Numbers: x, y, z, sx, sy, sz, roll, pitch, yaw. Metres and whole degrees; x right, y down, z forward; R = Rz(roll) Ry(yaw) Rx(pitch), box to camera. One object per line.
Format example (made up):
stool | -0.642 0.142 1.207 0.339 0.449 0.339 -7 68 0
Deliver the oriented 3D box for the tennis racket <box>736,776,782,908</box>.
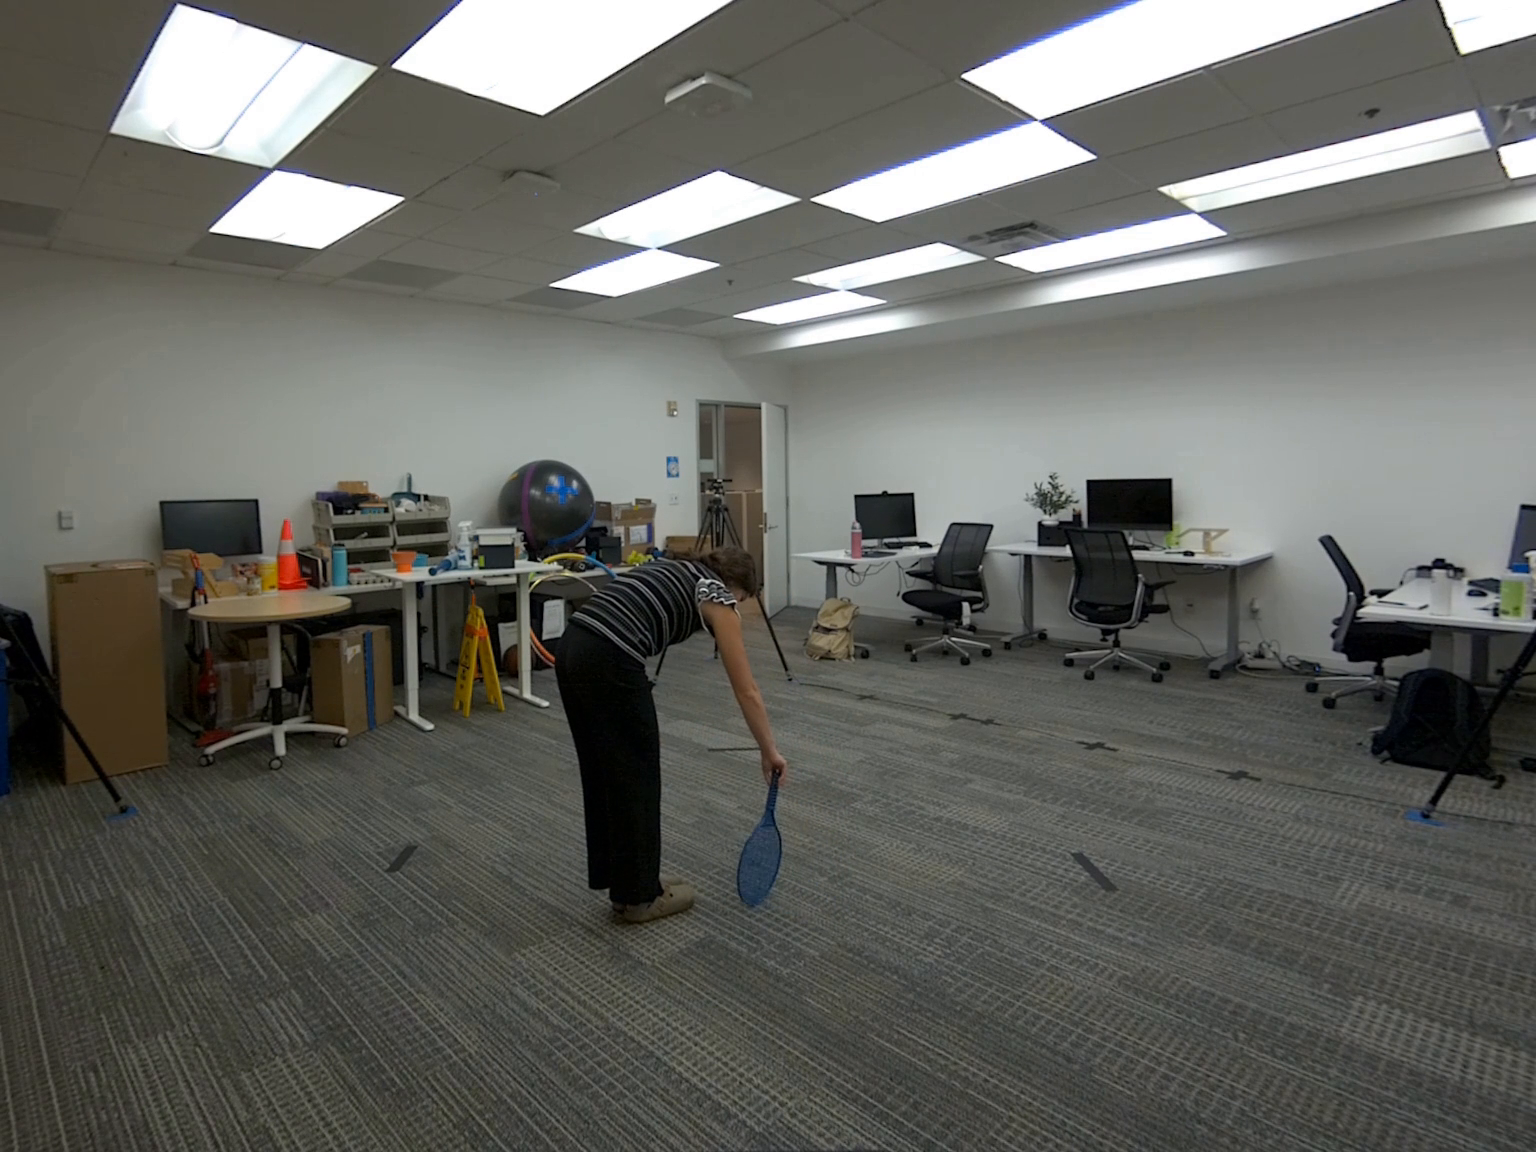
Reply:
tennis racket | -0.012 0.866 2.820 0.033 0.434 0.206 5 -7 43
